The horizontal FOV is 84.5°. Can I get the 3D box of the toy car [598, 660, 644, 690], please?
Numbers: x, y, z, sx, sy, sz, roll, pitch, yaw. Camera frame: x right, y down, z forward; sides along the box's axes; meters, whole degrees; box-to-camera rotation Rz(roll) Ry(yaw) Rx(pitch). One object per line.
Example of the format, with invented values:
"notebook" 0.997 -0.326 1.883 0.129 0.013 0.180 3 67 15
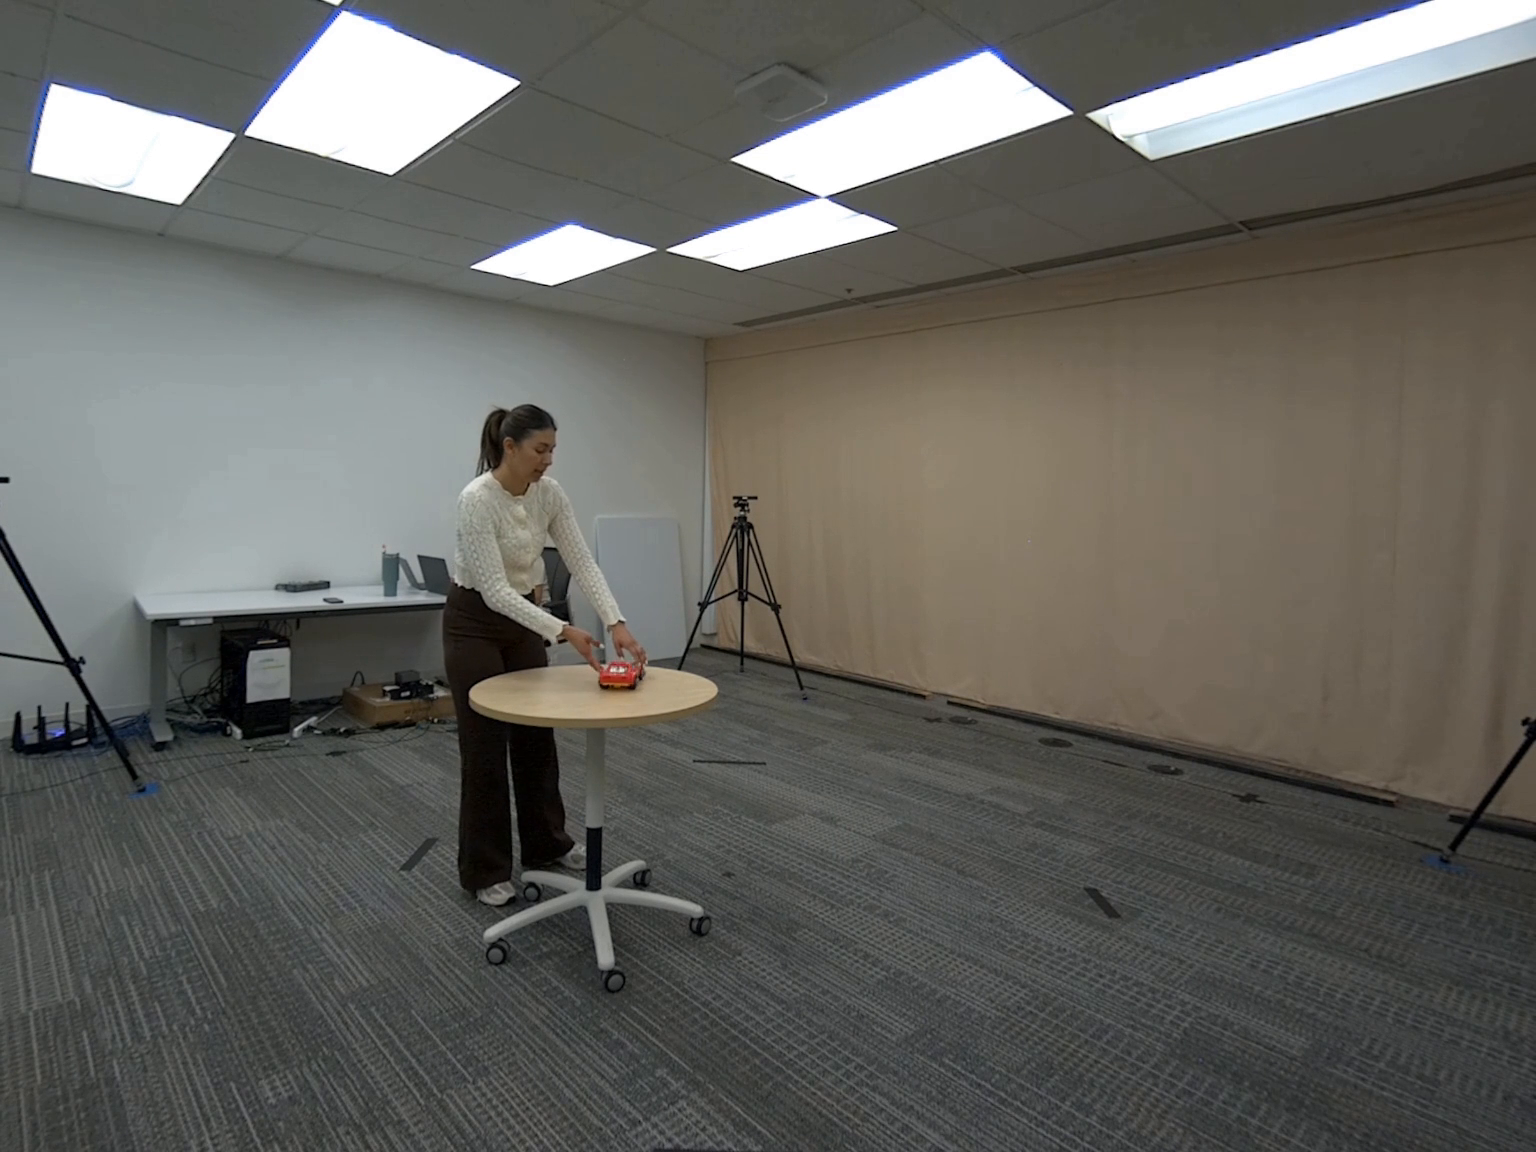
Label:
"toy car" -0.481 0.319 2.677 0.130 0.084 0.253 3 -7 0
